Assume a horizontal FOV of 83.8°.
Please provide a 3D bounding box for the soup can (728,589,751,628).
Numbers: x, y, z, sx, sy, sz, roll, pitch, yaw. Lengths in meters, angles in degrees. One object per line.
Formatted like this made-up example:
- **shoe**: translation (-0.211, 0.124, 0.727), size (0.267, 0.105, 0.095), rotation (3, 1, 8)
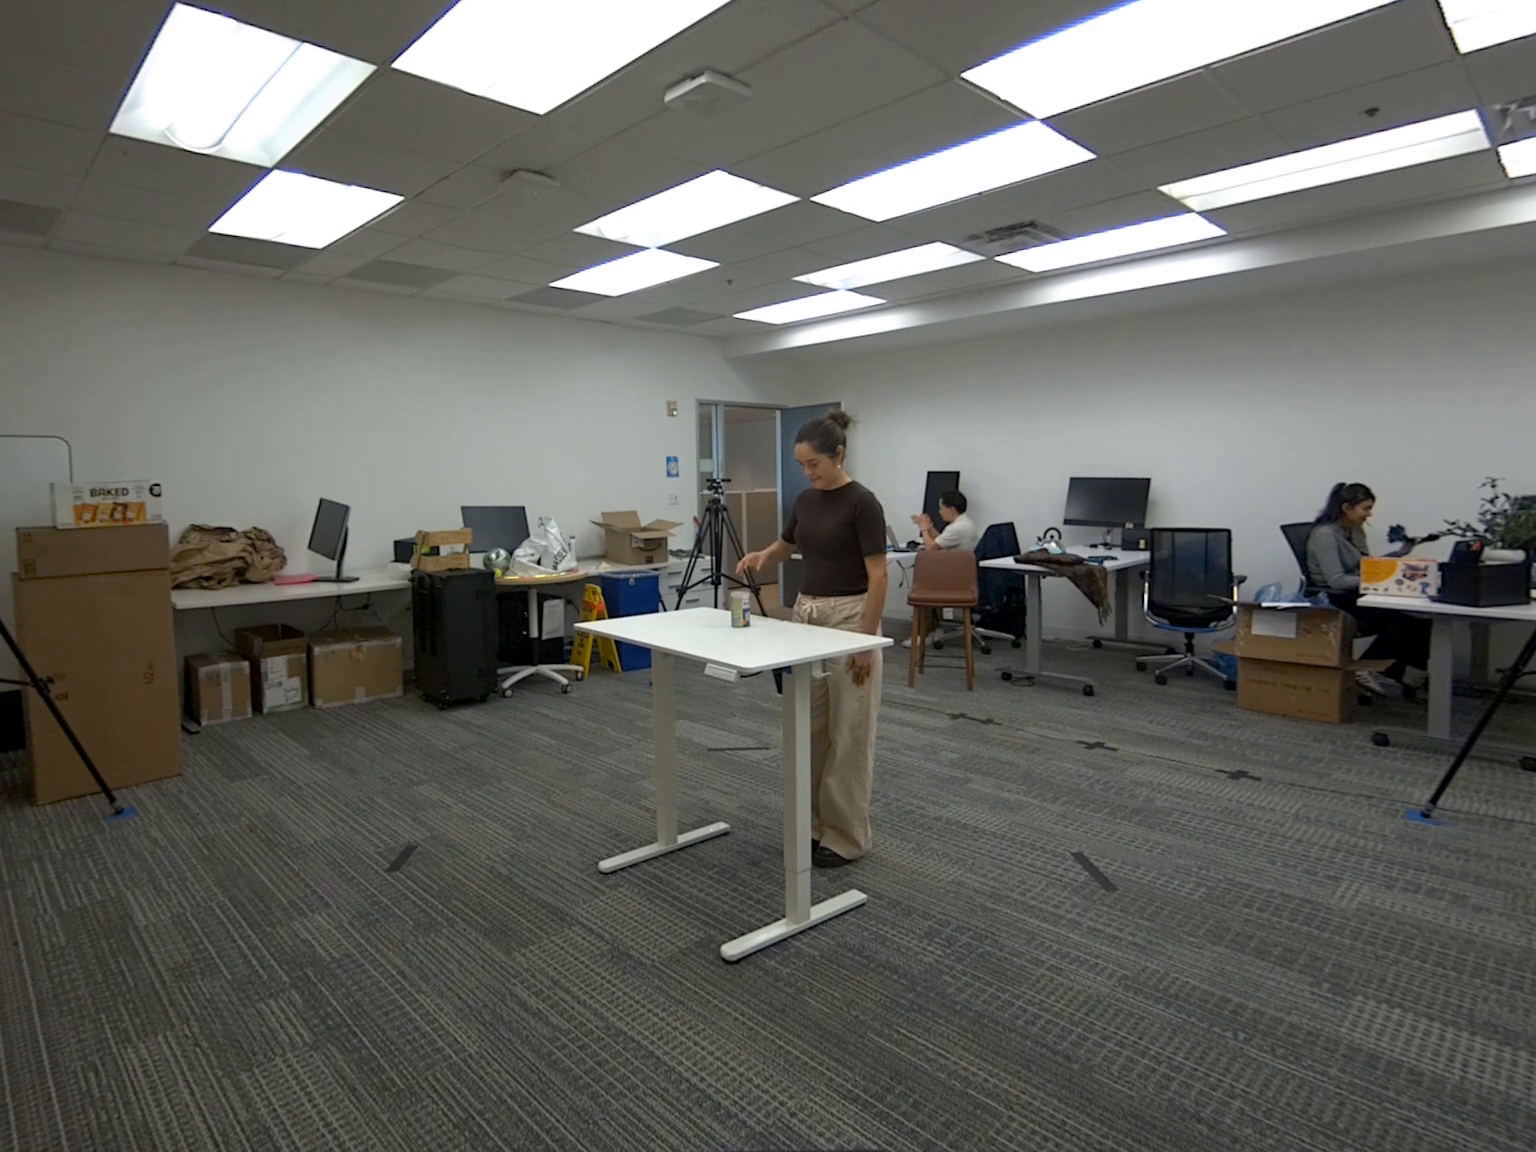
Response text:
- **soup can**: translation (-0.096, 0.119, 2.980), size (0.067, 0.121, 0.067), rotation (-1, 4, -2)
